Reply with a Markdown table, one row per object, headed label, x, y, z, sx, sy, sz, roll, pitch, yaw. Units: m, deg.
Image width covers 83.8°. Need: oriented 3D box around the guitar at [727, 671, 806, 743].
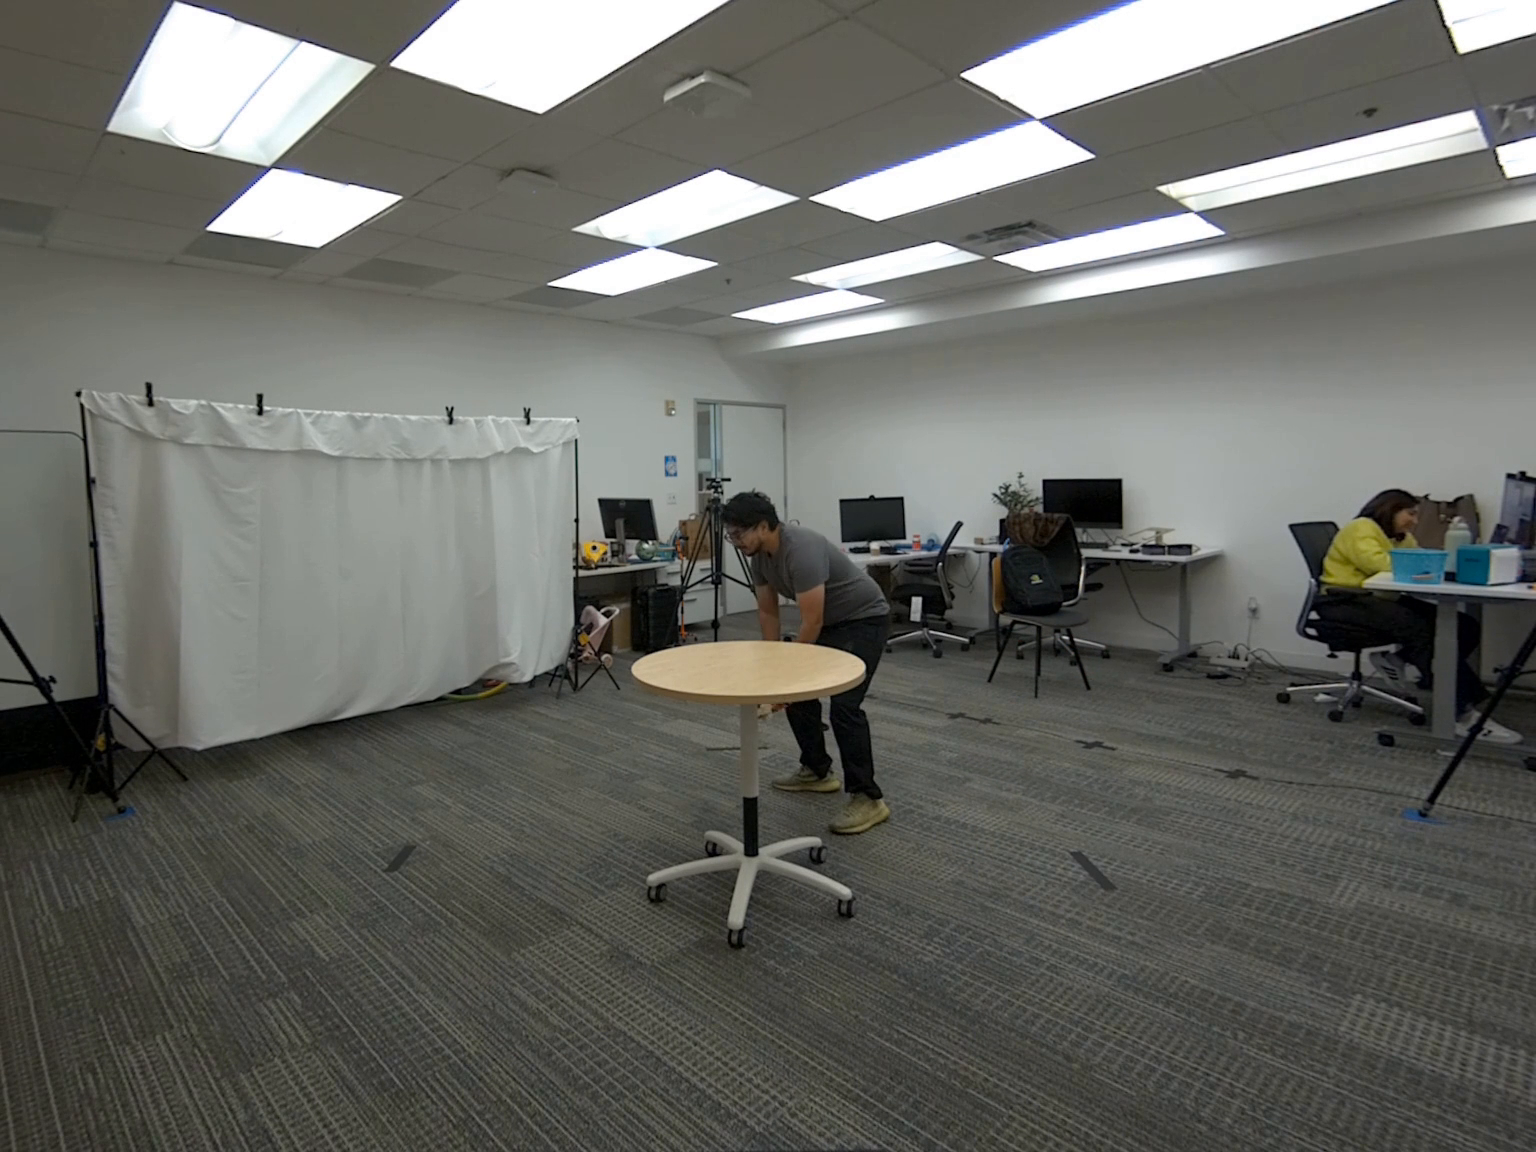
| label | x | y | z | sx | sy | sz | roll | pitch | yaw |
| --- | --- | --- | --- | --- | --- | --- | --- | --- | --- |
| guitar | 0.001 | 0.524 | 3.492 | 0.195 | 0.070 | 0.494 | -22 | 5 | 17 |
